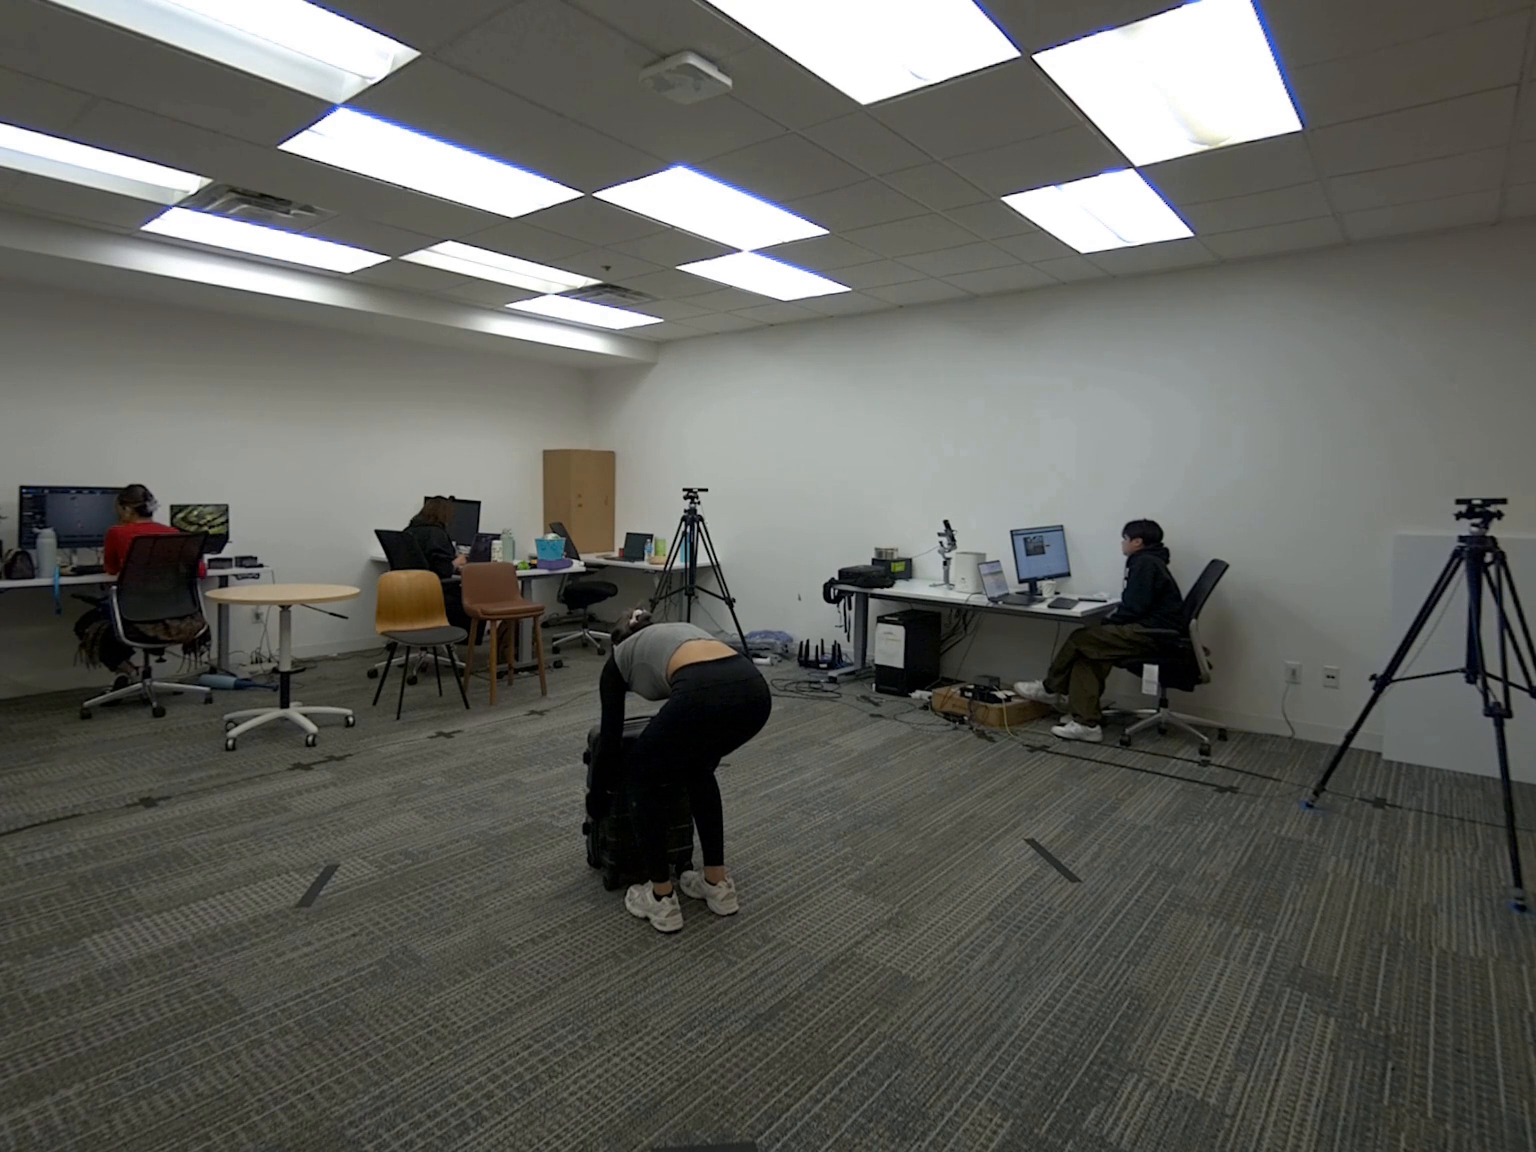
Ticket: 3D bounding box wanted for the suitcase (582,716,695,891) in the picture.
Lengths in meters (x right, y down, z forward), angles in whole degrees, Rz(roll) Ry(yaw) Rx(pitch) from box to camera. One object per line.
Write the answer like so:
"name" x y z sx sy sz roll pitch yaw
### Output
"suitcase" -0.472 0.790 3.079 0.365 0.547 0.256 -1 4 -31
